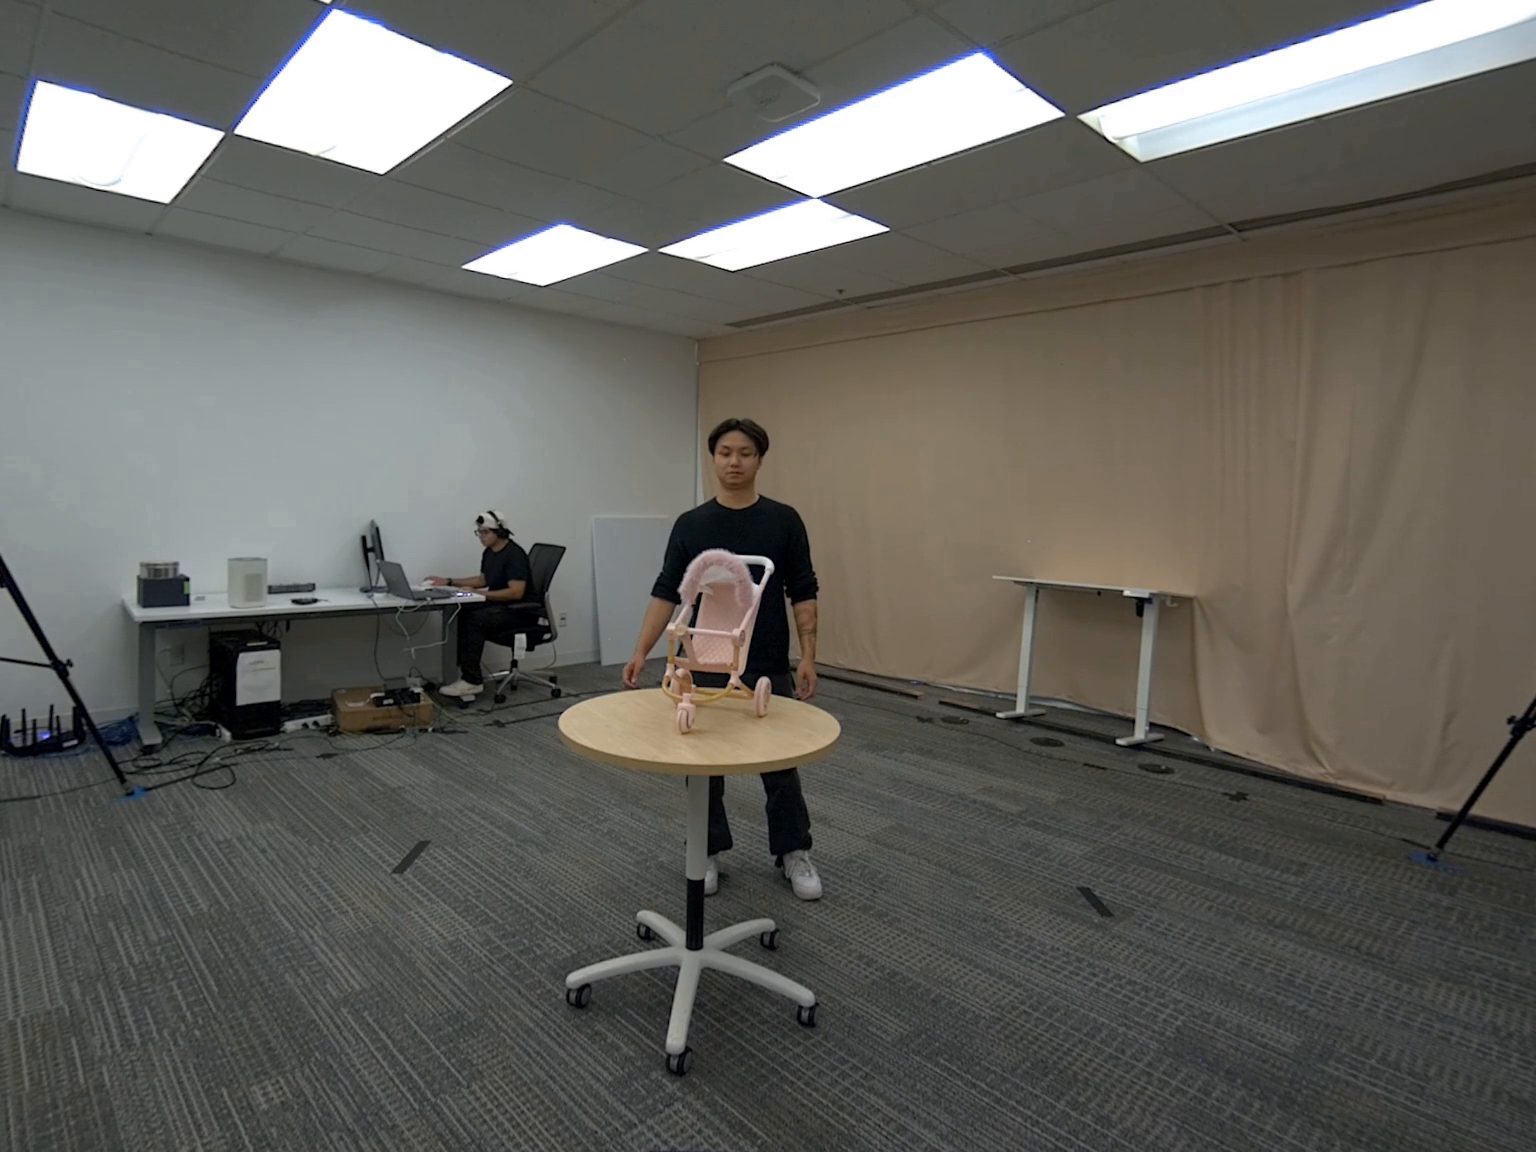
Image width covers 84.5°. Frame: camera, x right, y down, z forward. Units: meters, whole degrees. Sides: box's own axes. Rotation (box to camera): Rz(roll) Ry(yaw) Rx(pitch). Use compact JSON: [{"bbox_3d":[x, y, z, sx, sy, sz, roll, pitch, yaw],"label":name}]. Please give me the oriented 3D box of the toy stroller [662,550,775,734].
[{"bbox_3d":[-0.160,0.173,2.332,0.286,0.538,0.333,4,-10,23],"label":"toy stroller"}]
